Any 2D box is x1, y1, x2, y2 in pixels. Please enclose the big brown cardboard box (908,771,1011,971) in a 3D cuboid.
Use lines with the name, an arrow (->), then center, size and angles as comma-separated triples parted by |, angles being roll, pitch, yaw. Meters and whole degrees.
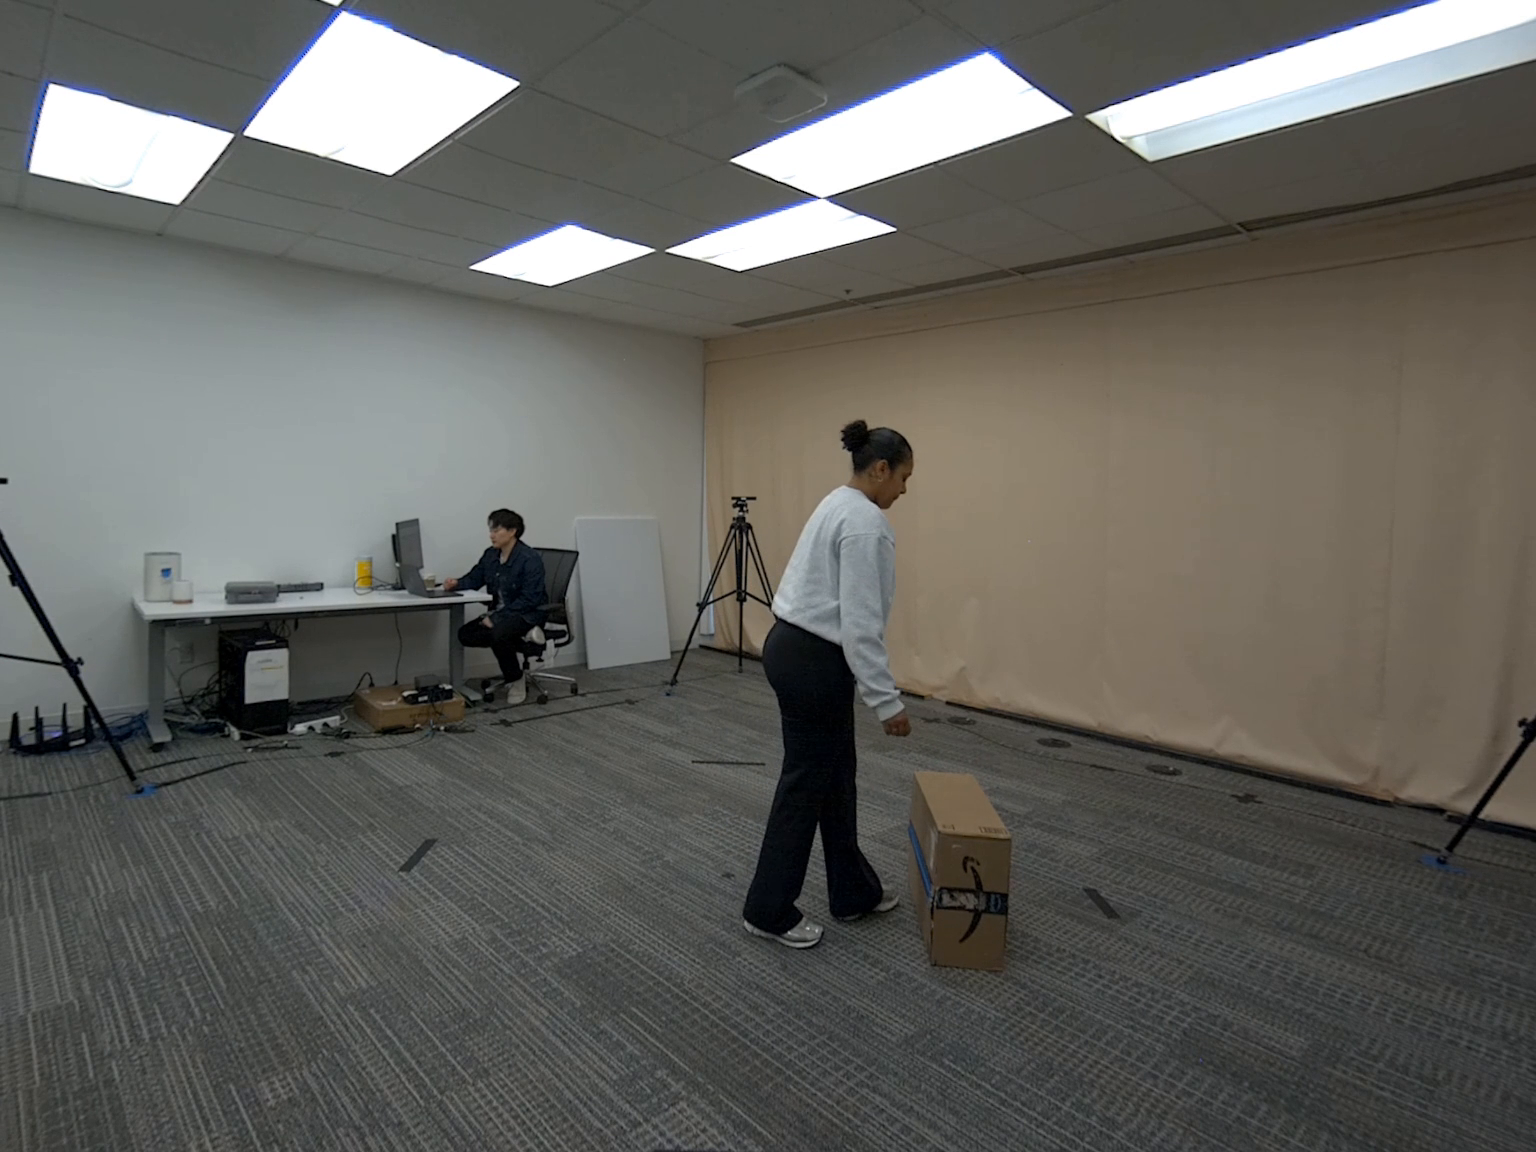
big brown cardboard box -> 0.612, 0.948, 2.782 | 0.234, 0.416, 0.588 | 4, 4, 3
